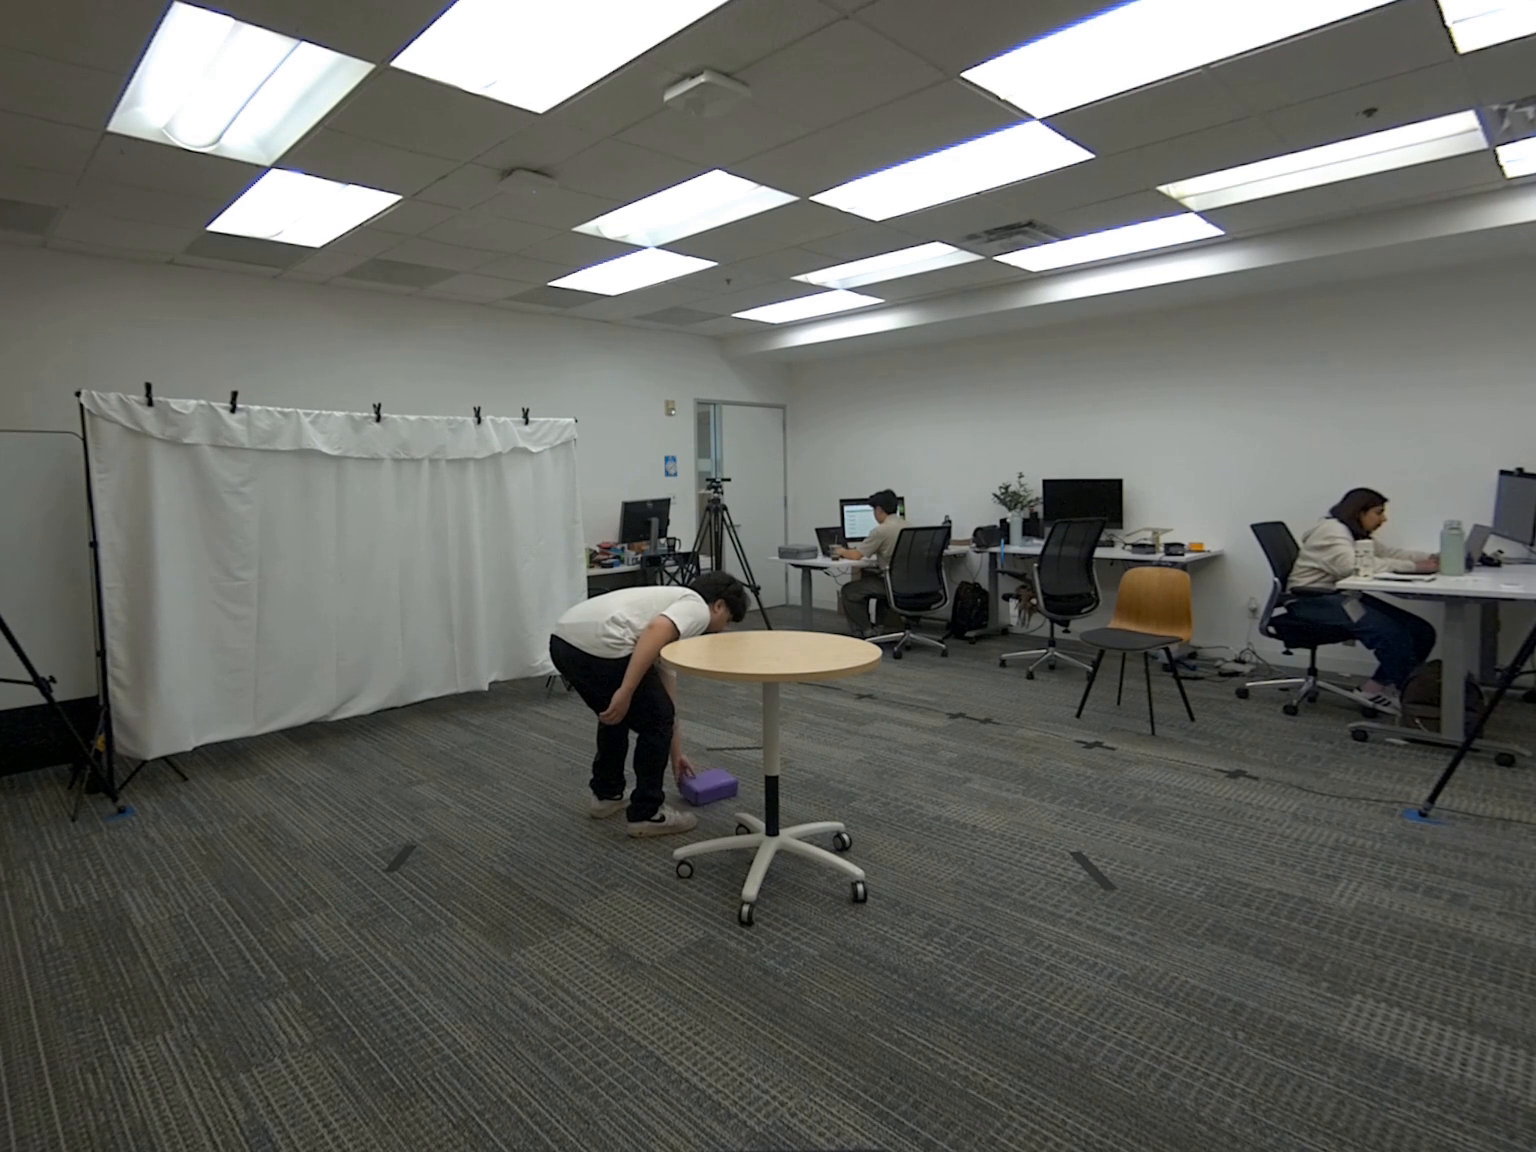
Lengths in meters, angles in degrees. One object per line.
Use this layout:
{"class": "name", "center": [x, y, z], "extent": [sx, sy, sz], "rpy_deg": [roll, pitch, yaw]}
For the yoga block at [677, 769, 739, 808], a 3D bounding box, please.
{"class": "yoga block", "center": [-0.260, 0.922, 3.761], "extent": [0.223, 0.076, 0.154], "rpy_deg": [-3, 11, -38]}
